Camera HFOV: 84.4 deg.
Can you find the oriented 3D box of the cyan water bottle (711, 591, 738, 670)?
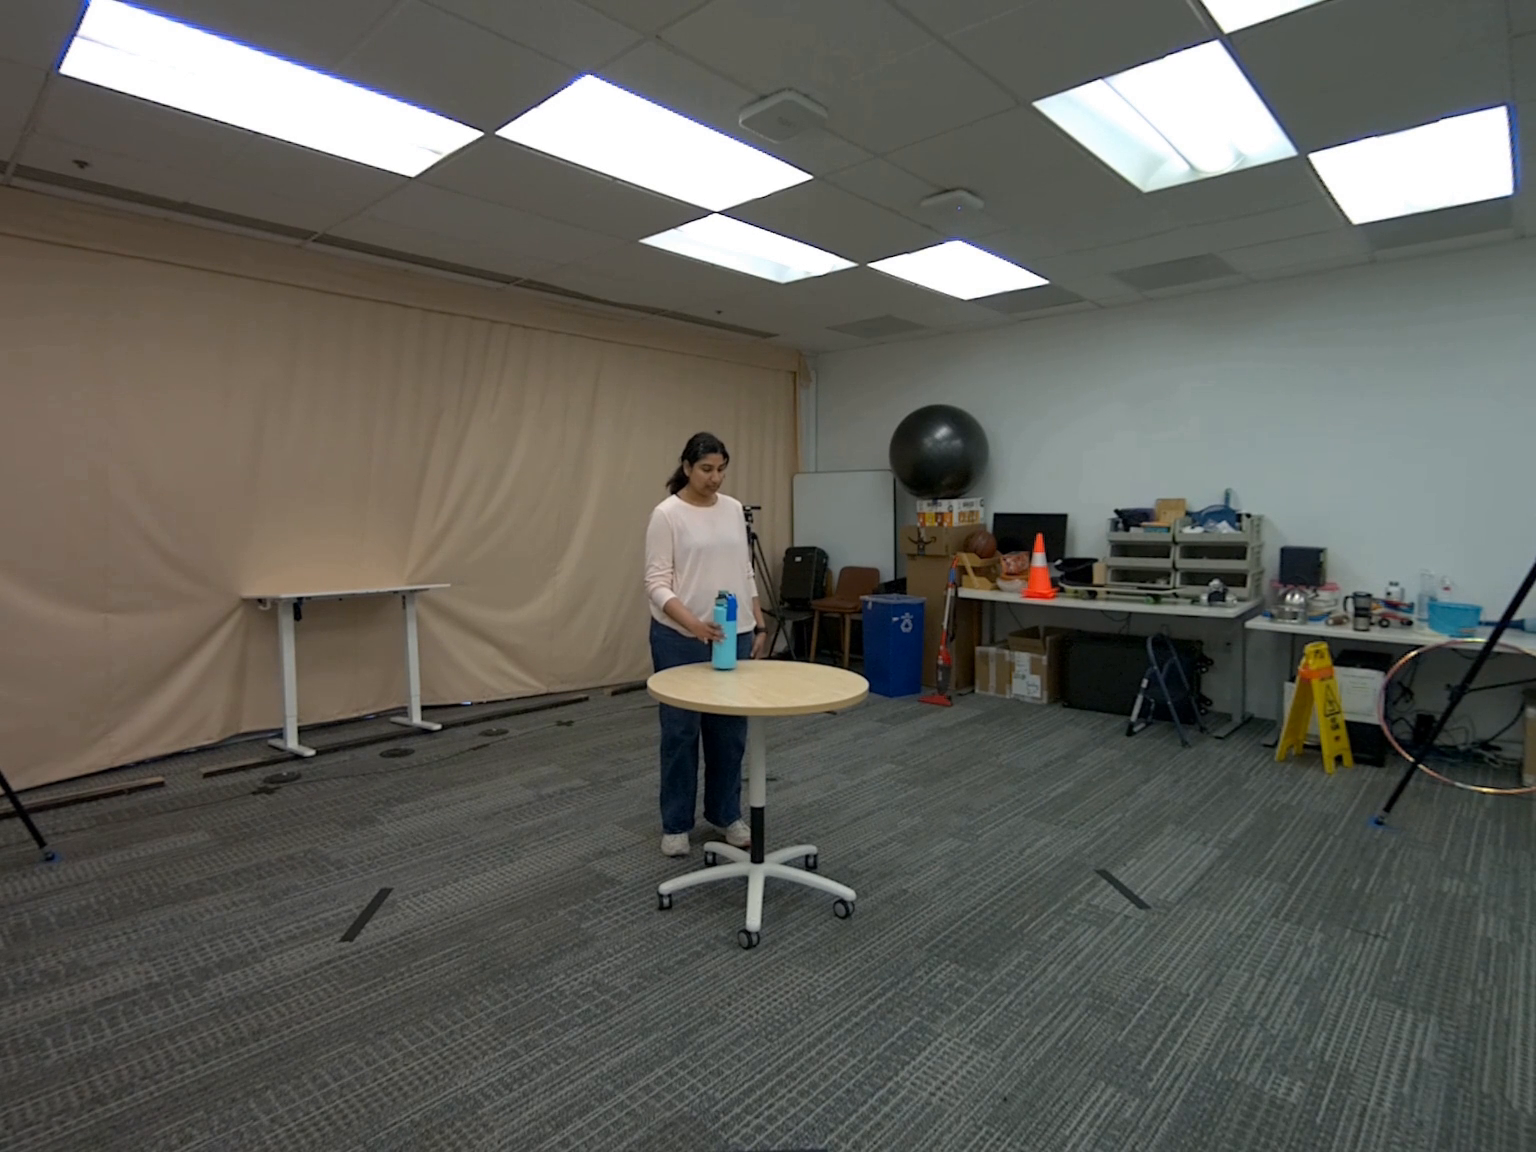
[{"bbox_3d":[-0.160,0.188,3.124,0.092,0.283,0.092,3,3,-2],"label":"cyan water bottle"}]
